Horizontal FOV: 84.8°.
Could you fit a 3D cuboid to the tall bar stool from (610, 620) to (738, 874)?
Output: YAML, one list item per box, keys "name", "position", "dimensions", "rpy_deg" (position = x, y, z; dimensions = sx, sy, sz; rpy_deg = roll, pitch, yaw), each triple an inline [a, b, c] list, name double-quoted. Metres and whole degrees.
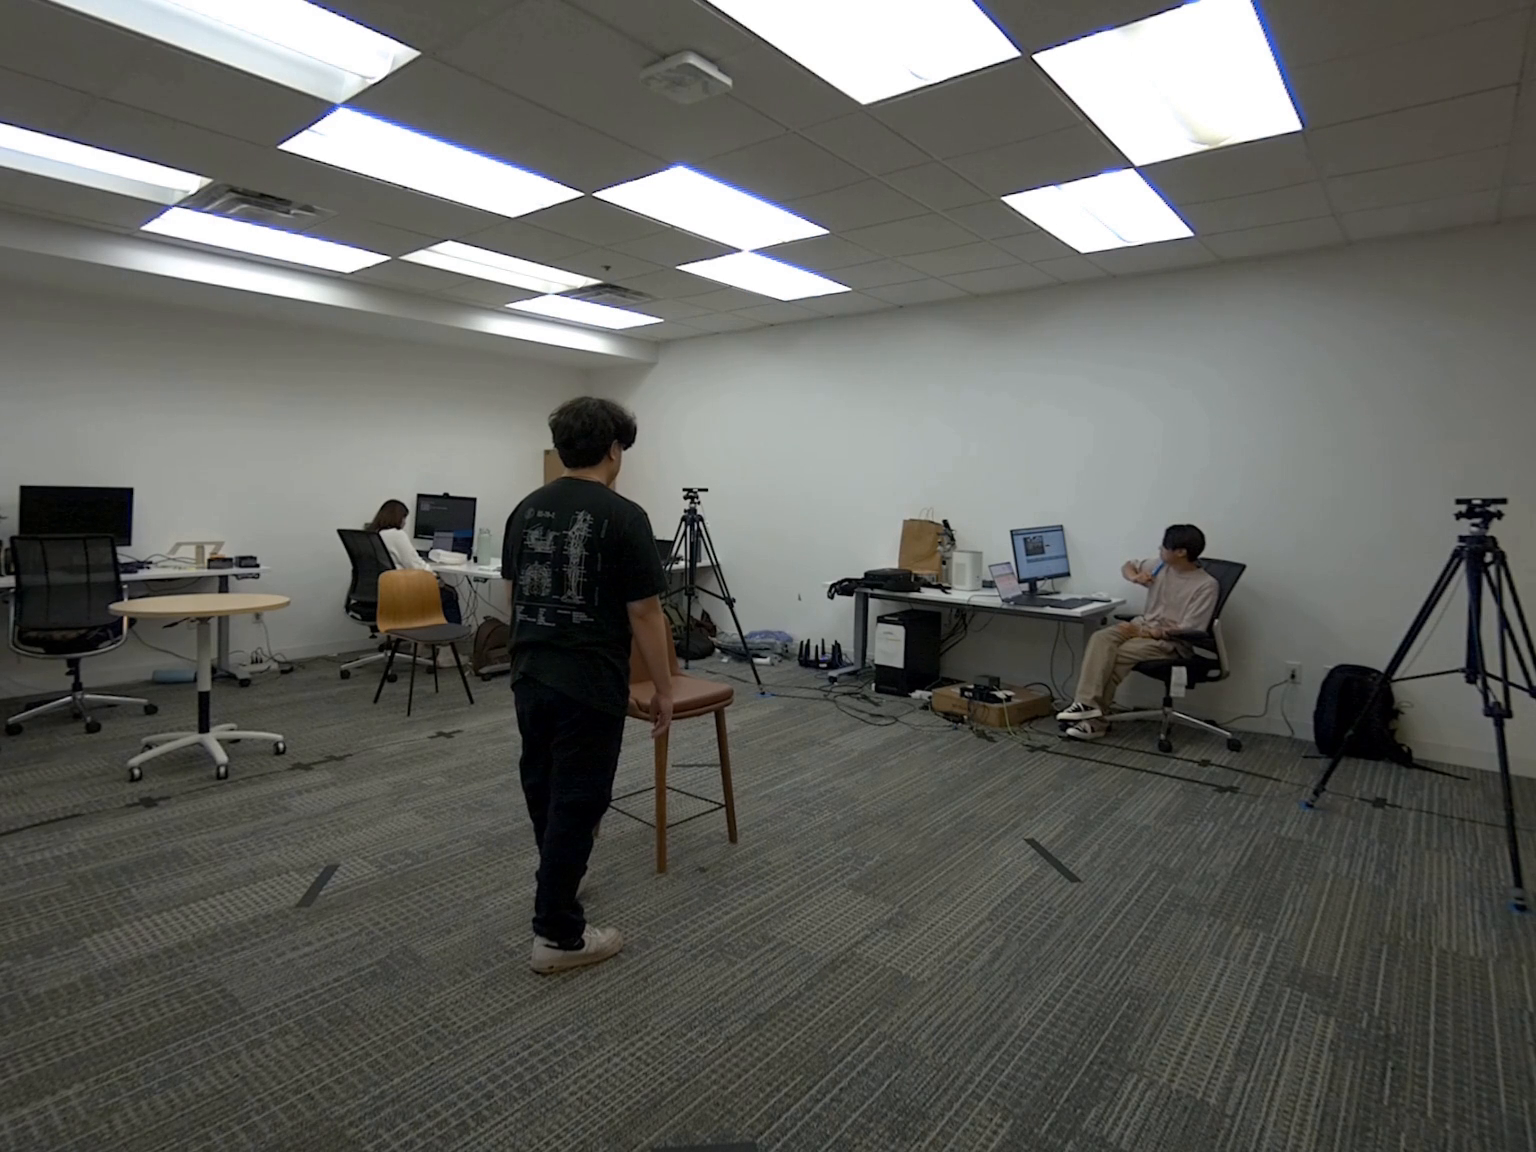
- name: "tall bar stool"
  position: [-0.425, 0.607, 3.354]
  dimensions: [0.482, 0.889, 0.442]
  rpy_deg: [0, 1, 43]
